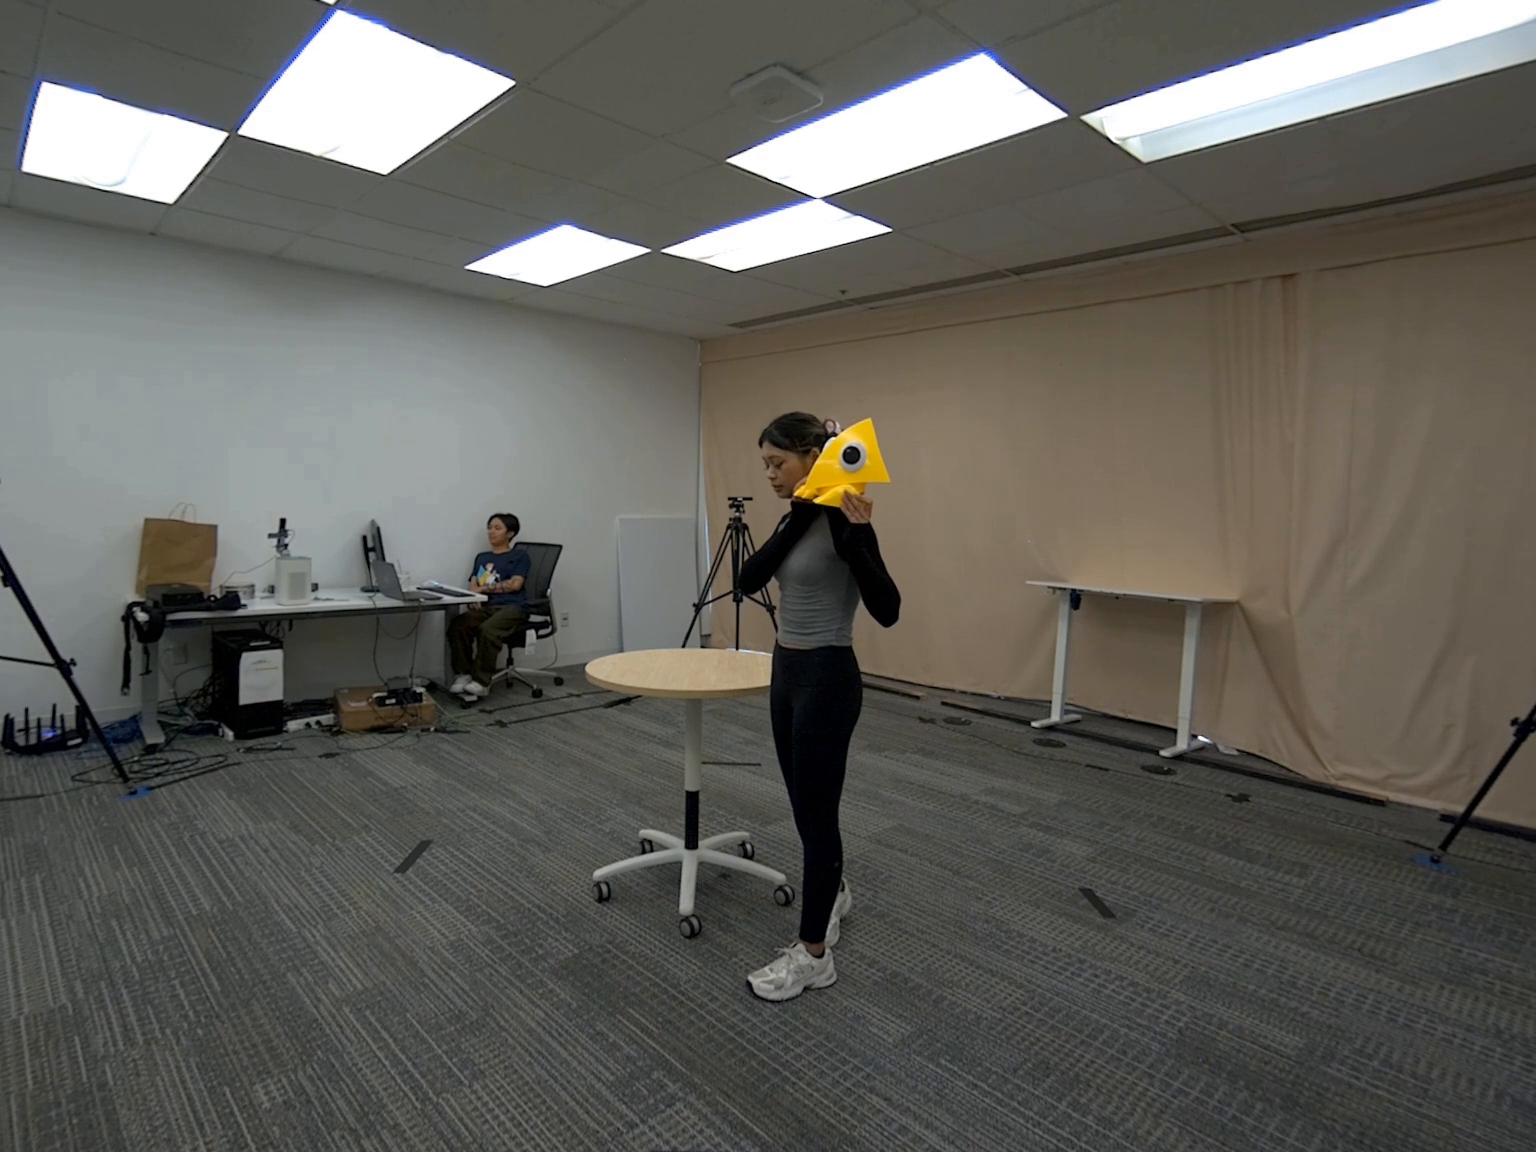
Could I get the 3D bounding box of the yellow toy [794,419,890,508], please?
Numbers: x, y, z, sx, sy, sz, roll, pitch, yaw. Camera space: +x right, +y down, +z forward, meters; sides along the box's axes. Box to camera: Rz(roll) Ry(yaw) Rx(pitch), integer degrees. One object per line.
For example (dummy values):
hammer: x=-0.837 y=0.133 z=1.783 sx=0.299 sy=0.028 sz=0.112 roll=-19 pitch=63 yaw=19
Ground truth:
yellow toy: x=0.188 y=-0.302 z=2.179 sx=0.189 sy=0.229 sz=0.210 roll=5 pitch=11 yaw=-25
